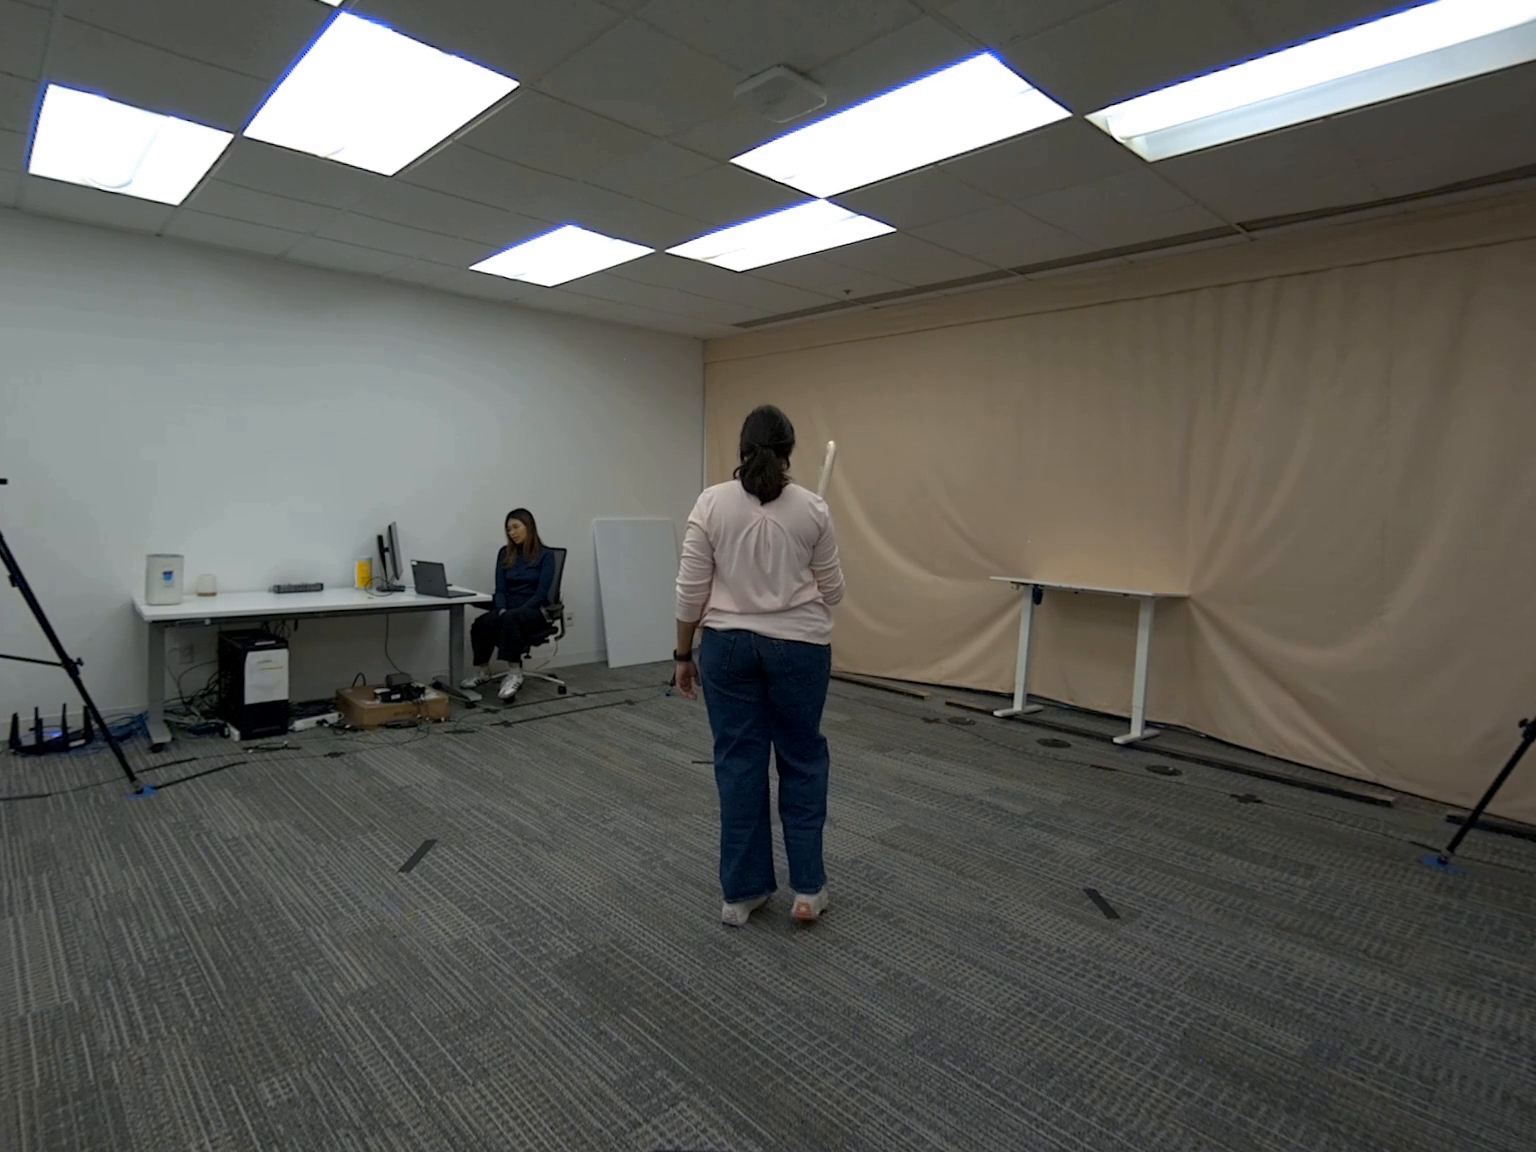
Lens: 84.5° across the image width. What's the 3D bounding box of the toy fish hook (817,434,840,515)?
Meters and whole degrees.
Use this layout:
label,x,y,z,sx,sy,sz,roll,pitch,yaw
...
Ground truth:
label,x,y,z,sx,sy,sz,roll,pitch,yaw
toy fish hook,0.208,-0.258,3.198,0.048,0.511,0.221,7,-13,6
